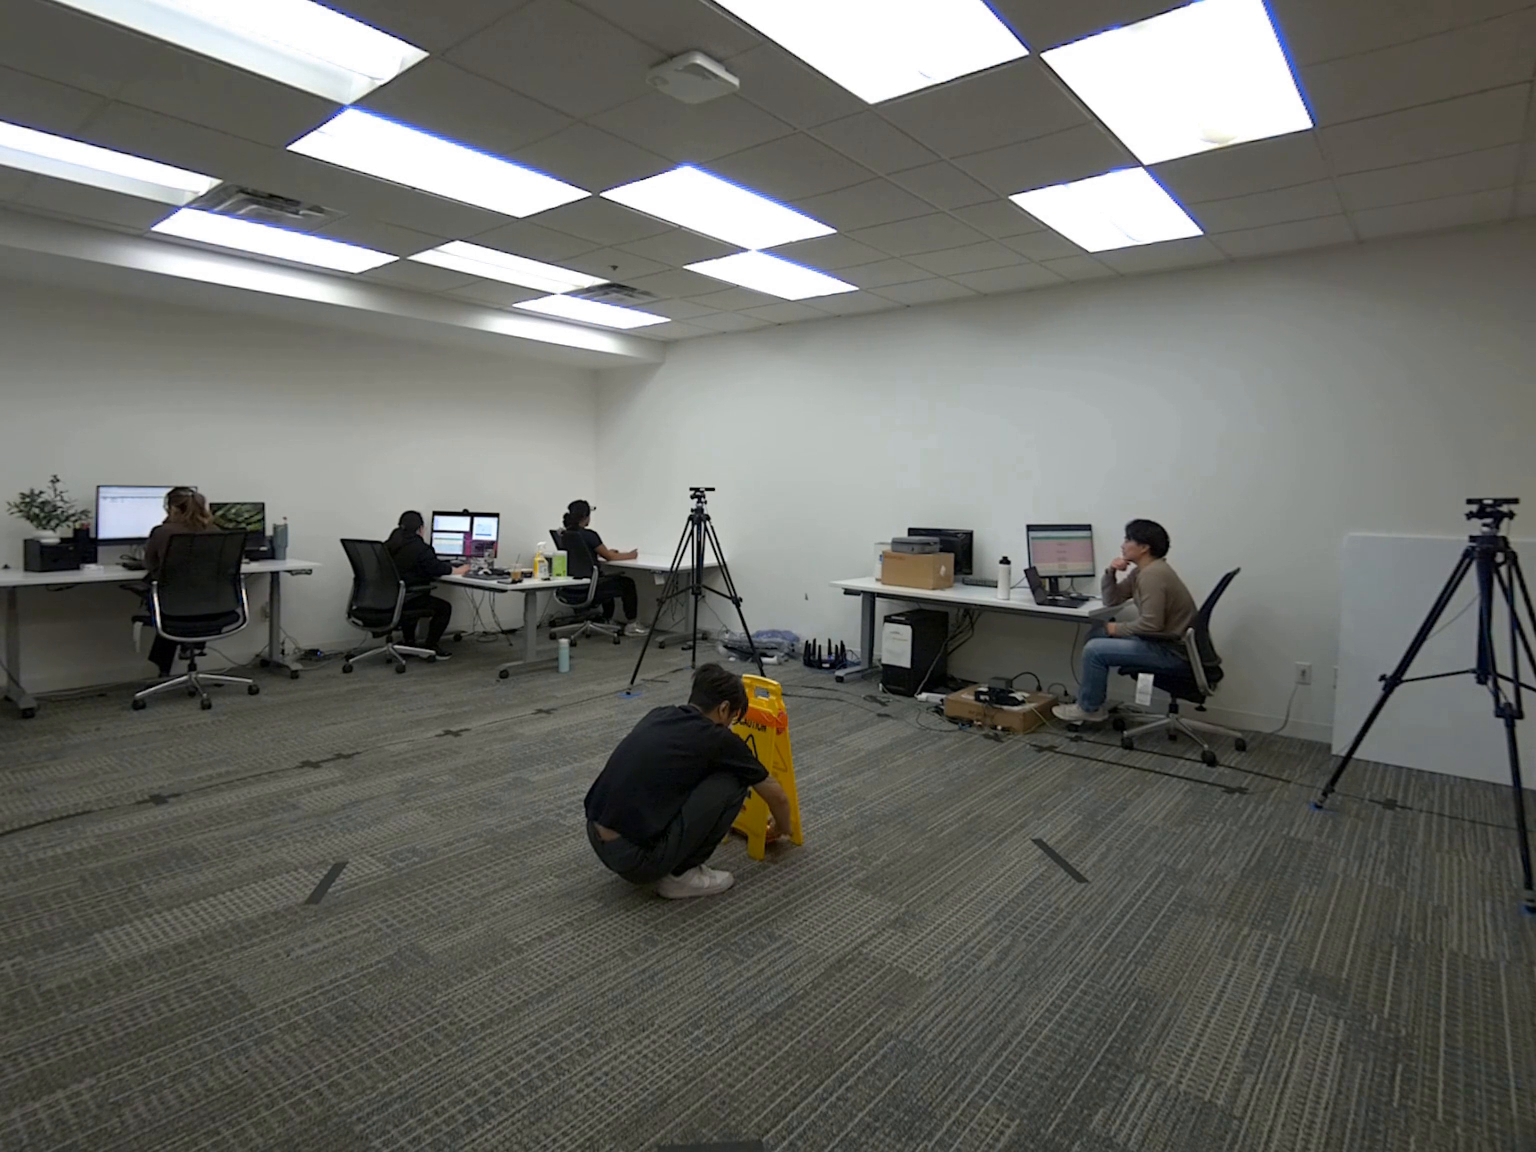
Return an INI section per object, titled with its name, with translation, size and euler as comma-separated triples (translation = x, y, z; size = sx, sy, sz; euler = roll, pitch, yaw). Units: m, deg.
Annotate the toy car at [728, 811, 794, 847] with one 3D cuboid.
[toy car]
translation = -0.037, 1.019, 3.399
size = 0.126, 0.084, 0.261
euler = 1, -7, -39
